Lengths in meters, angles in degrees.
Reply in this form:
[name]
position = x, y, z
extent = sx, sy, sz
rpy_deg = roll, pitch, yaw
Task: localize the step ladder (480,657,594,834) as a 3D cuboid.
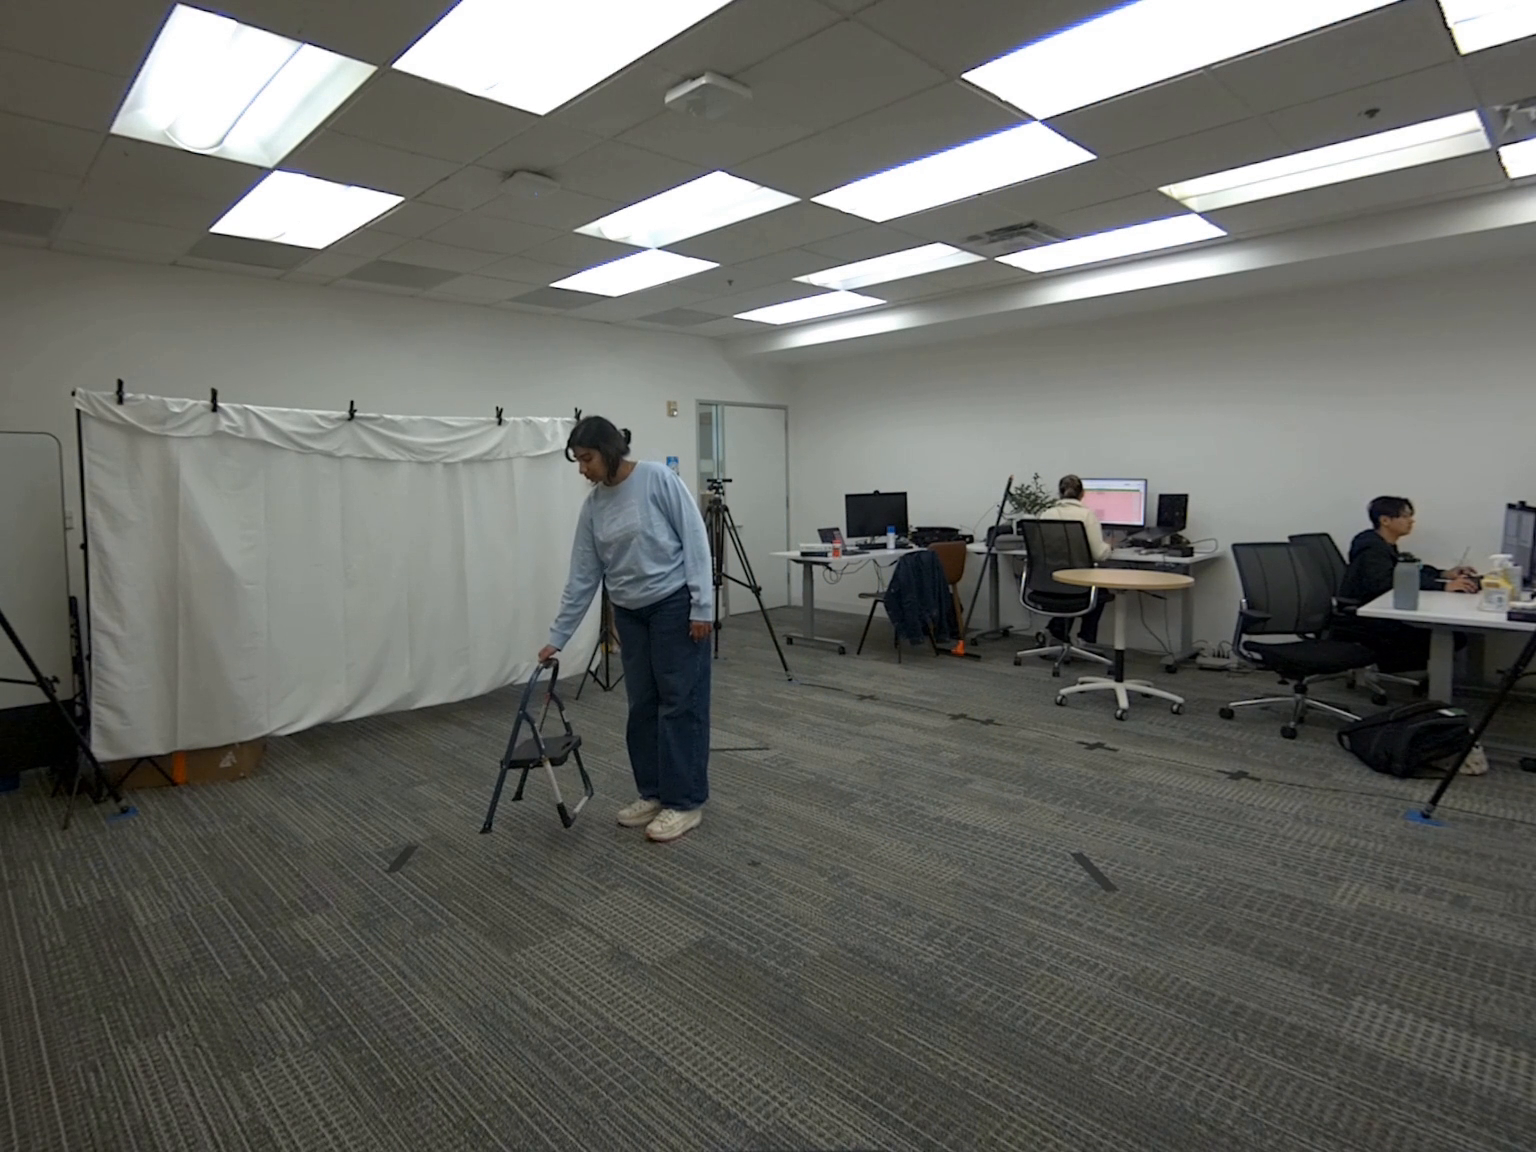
[step ladder]
position = -0.925, 0.641, 3.396
extent = 0.350, 0.606, 0.430
rpy_deg = -4, 1, 1
